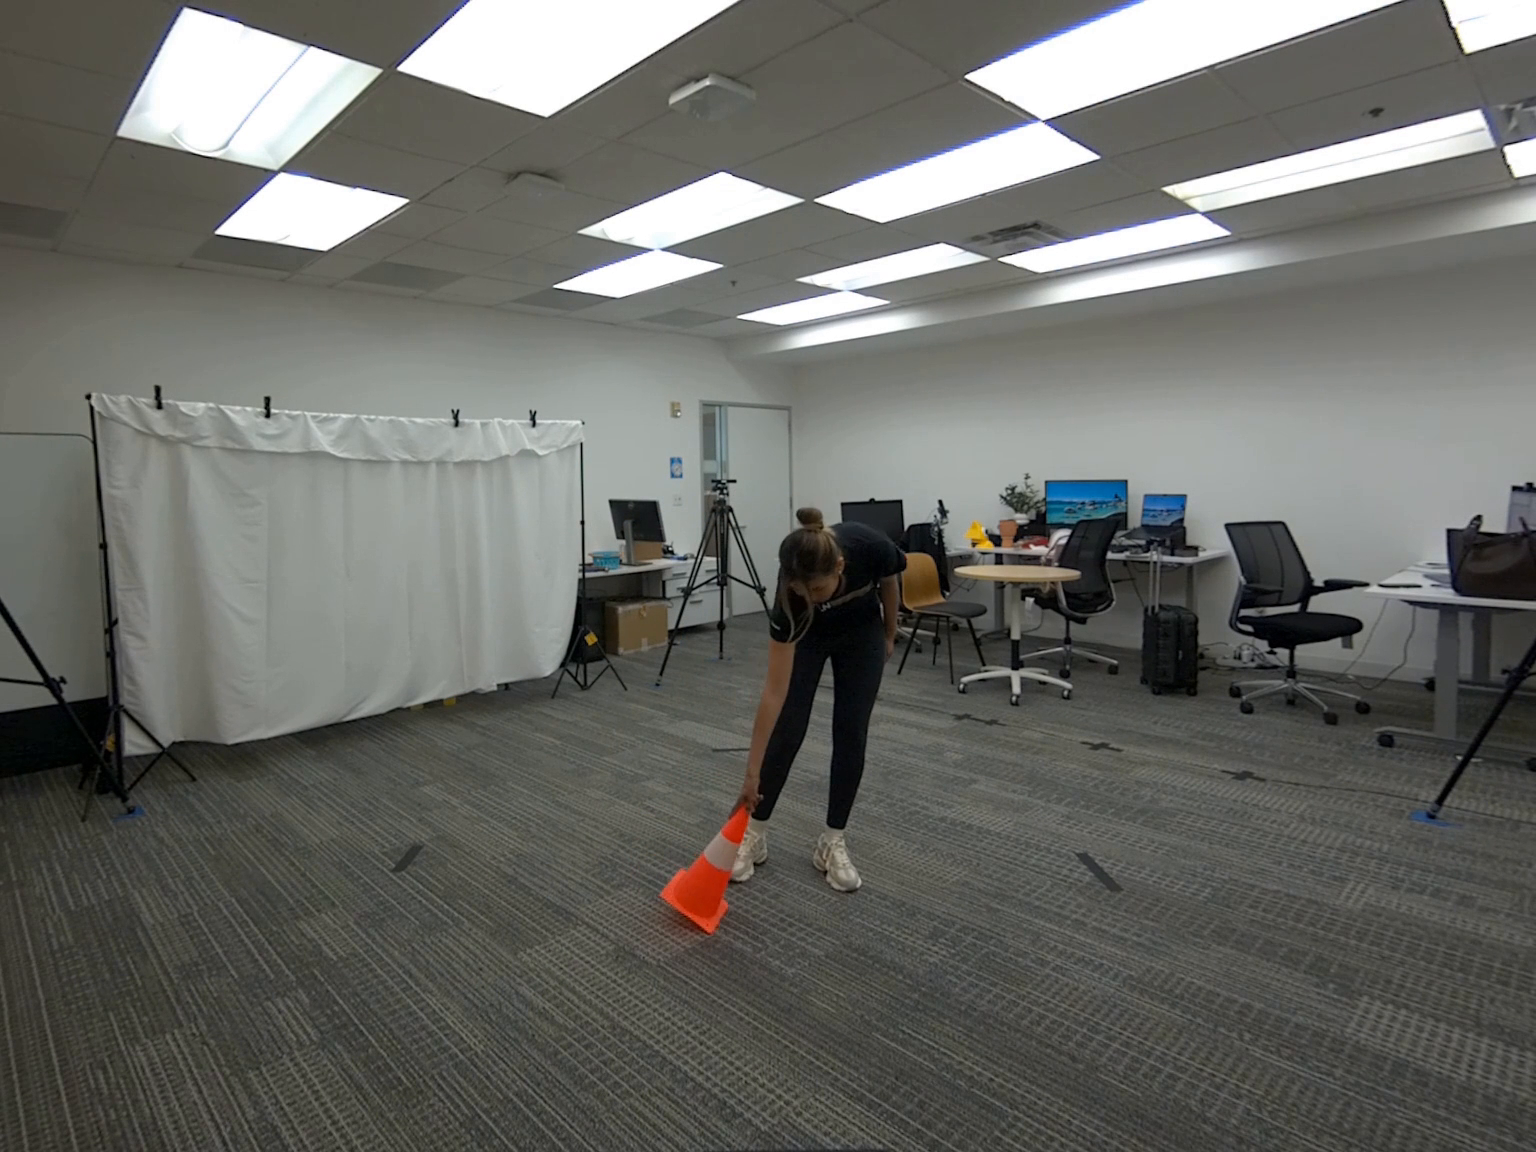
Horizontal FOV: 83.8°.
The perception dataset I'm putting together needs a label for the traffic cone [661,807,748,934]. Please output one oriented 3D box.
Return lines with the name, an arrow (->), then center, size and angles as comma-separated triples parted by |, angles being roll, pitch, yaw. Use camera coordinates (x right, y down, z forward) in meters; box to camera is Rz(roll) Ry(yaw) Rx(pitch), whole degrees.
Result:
traffic cone -> -0.140, 0.887, 2.702 | 0.208, 0.382, 0.201 | 30, 13, 10
